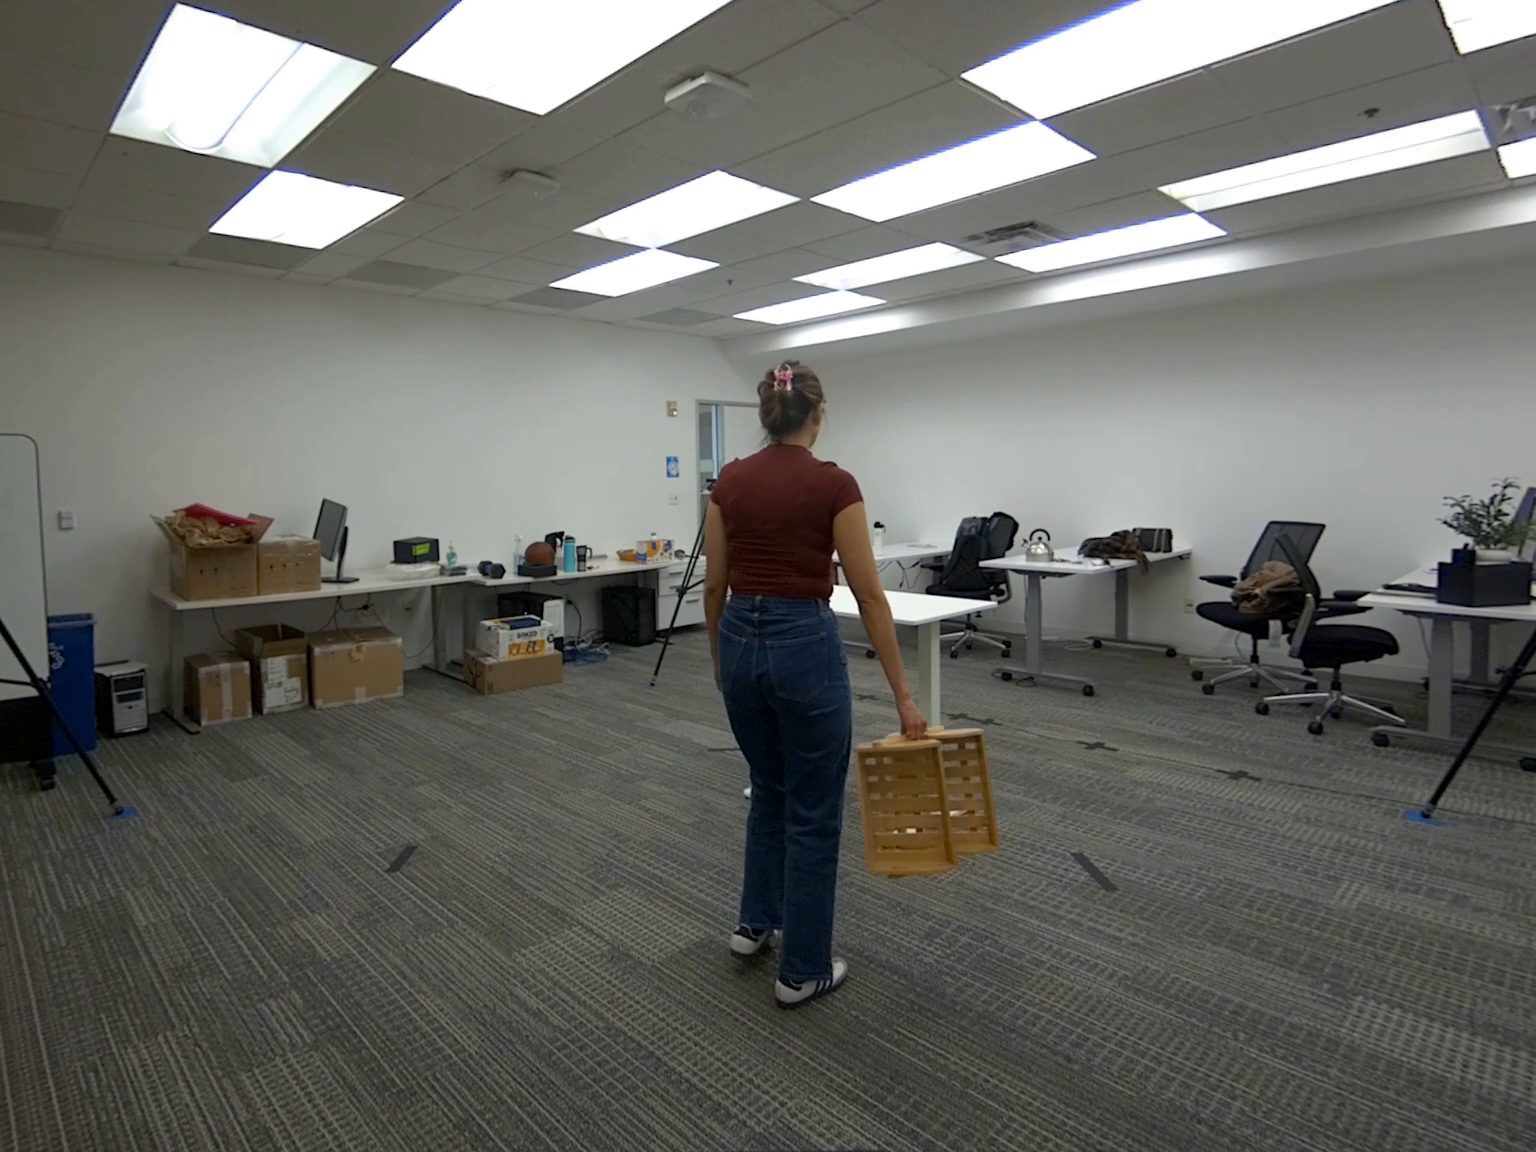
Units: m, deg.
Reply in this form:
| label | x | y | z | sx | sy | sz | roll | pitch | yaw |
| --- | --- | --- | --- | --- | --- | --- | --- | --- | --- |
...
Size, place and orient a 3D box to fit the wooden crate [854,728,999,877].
| label | x | y | z | sx | sy | sz | roll | pitch | yaw |
| --- | --- | --- | --- | --- | --- | --- | --- | --- | --- |
| wooden crate | 0.398 | 0.563 | 2.163 | 0.307 | 0.327 | 0.267 | -9 | -6 | 19 |
